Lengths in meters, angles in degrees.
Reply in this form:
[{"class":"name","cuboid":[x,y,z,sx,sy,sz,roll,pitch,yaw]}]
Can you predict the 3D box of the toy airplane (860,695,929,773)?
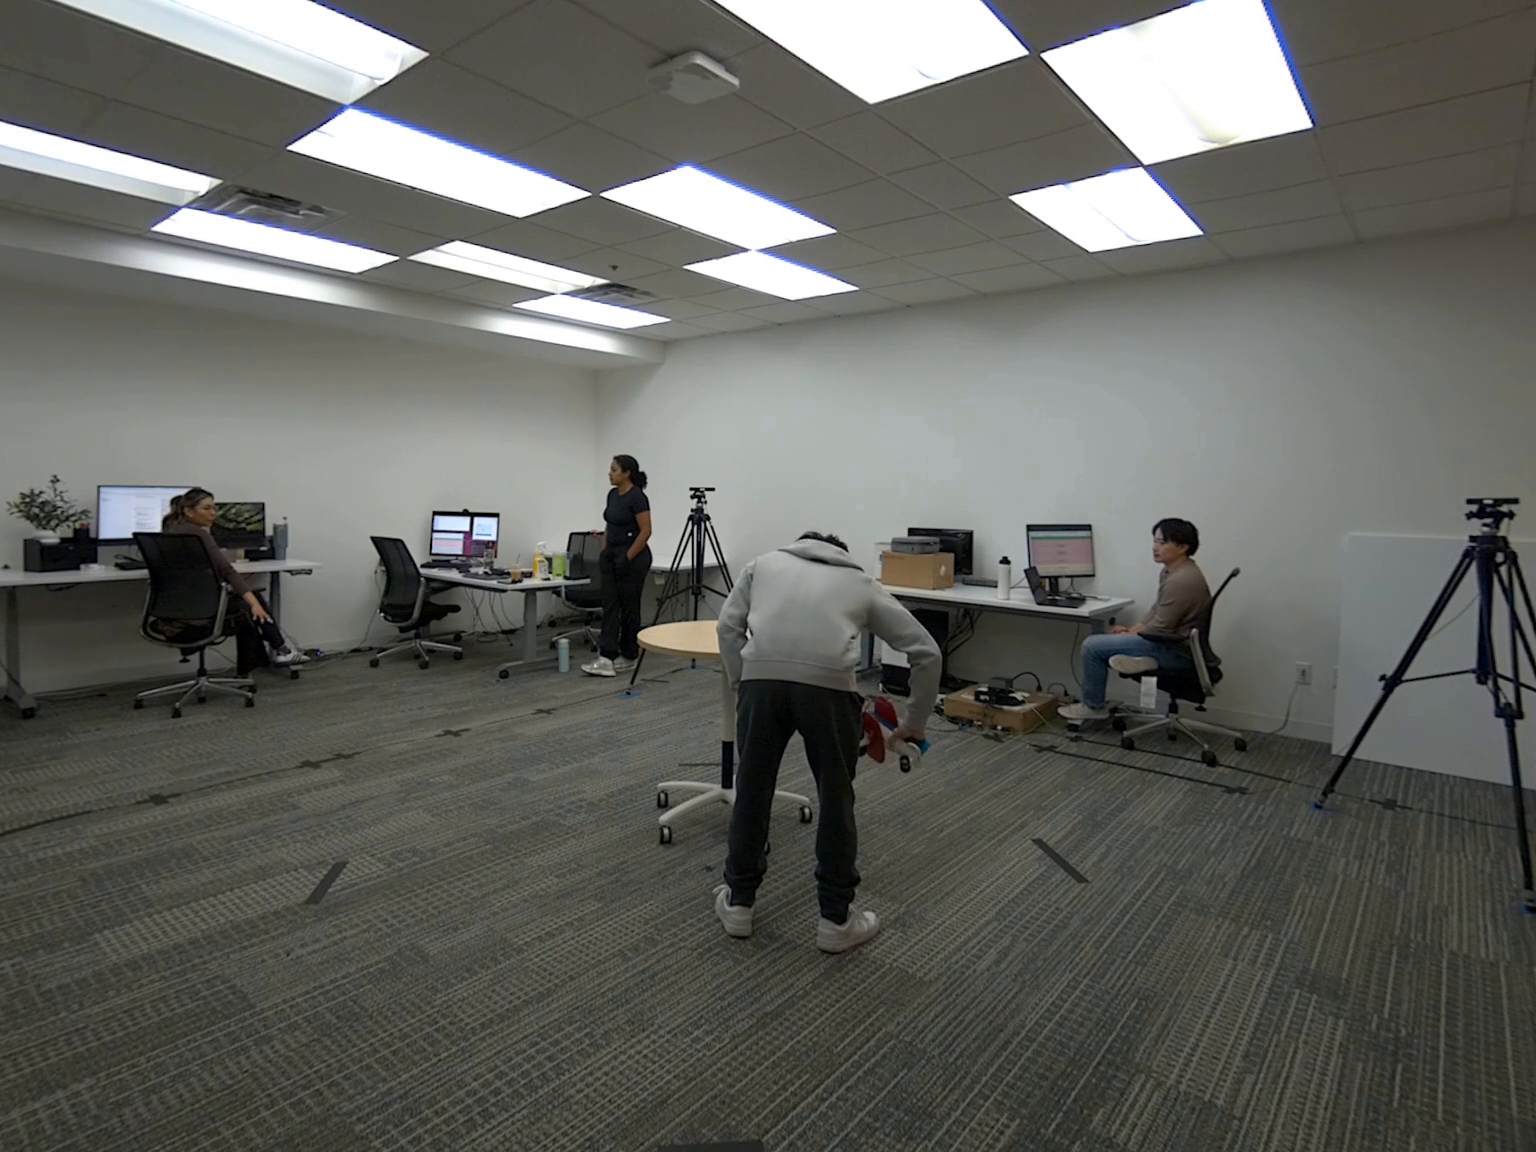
[{"class":"toy airplane","cuboid":[0.388,0.533,2.818,0.263,0.156,0.247,35,-33,9]}]
